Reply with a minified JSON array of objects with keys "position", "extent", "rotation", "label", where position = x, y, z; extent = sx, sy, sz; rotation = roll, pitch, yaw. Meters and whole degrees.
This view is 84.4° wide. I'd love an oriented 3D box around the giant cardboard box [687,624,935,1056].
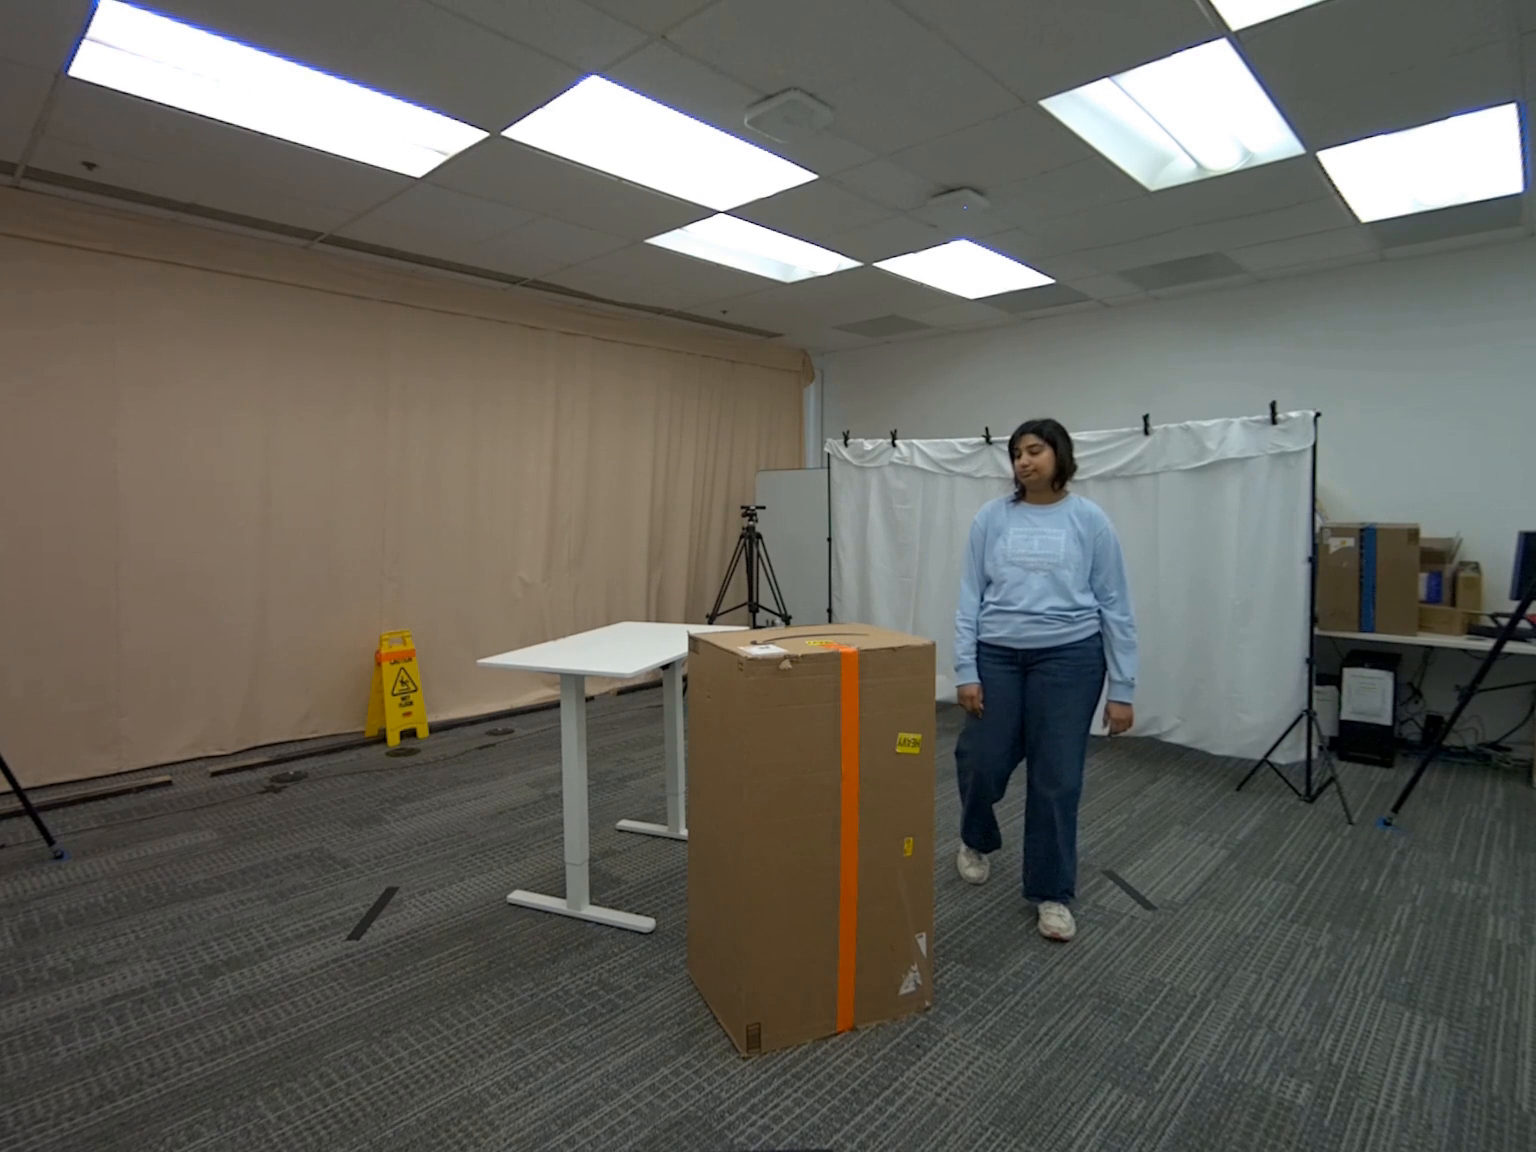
[{"position":[0.115,0.684,2.392],"extent":[0.564,1.024,0.437],"rotation":[-1,3,-24],"label":"giant cardboard box"}]
